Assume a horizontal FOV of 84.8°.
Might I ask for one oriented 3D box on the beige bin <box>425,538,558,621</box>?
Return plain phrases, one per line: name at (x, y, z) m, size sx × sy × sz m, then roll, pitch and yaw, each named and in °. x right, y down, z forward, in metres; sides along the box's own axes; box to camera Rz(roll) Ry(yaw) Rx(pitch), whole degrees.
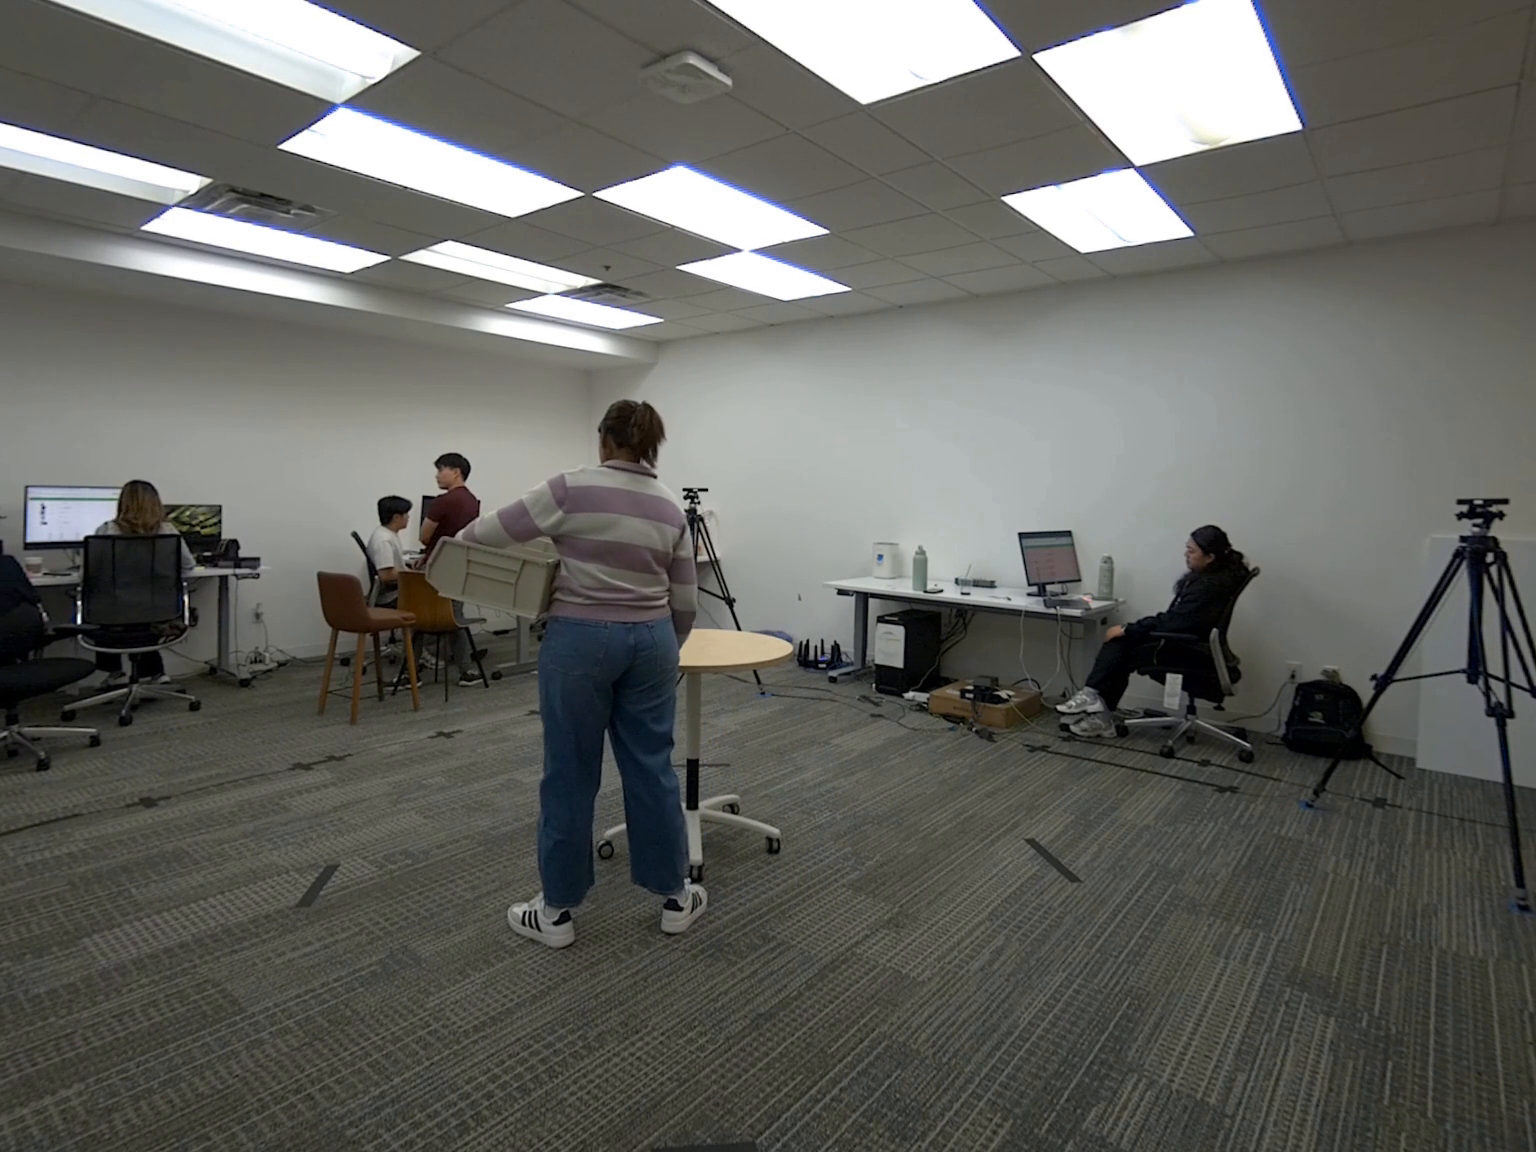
beige bin at (-0.815, -0.019, 2.700) m, size 0.382 × 0.188 × 0.420 m, roll 15°, pitch 9°, yaw 7°
